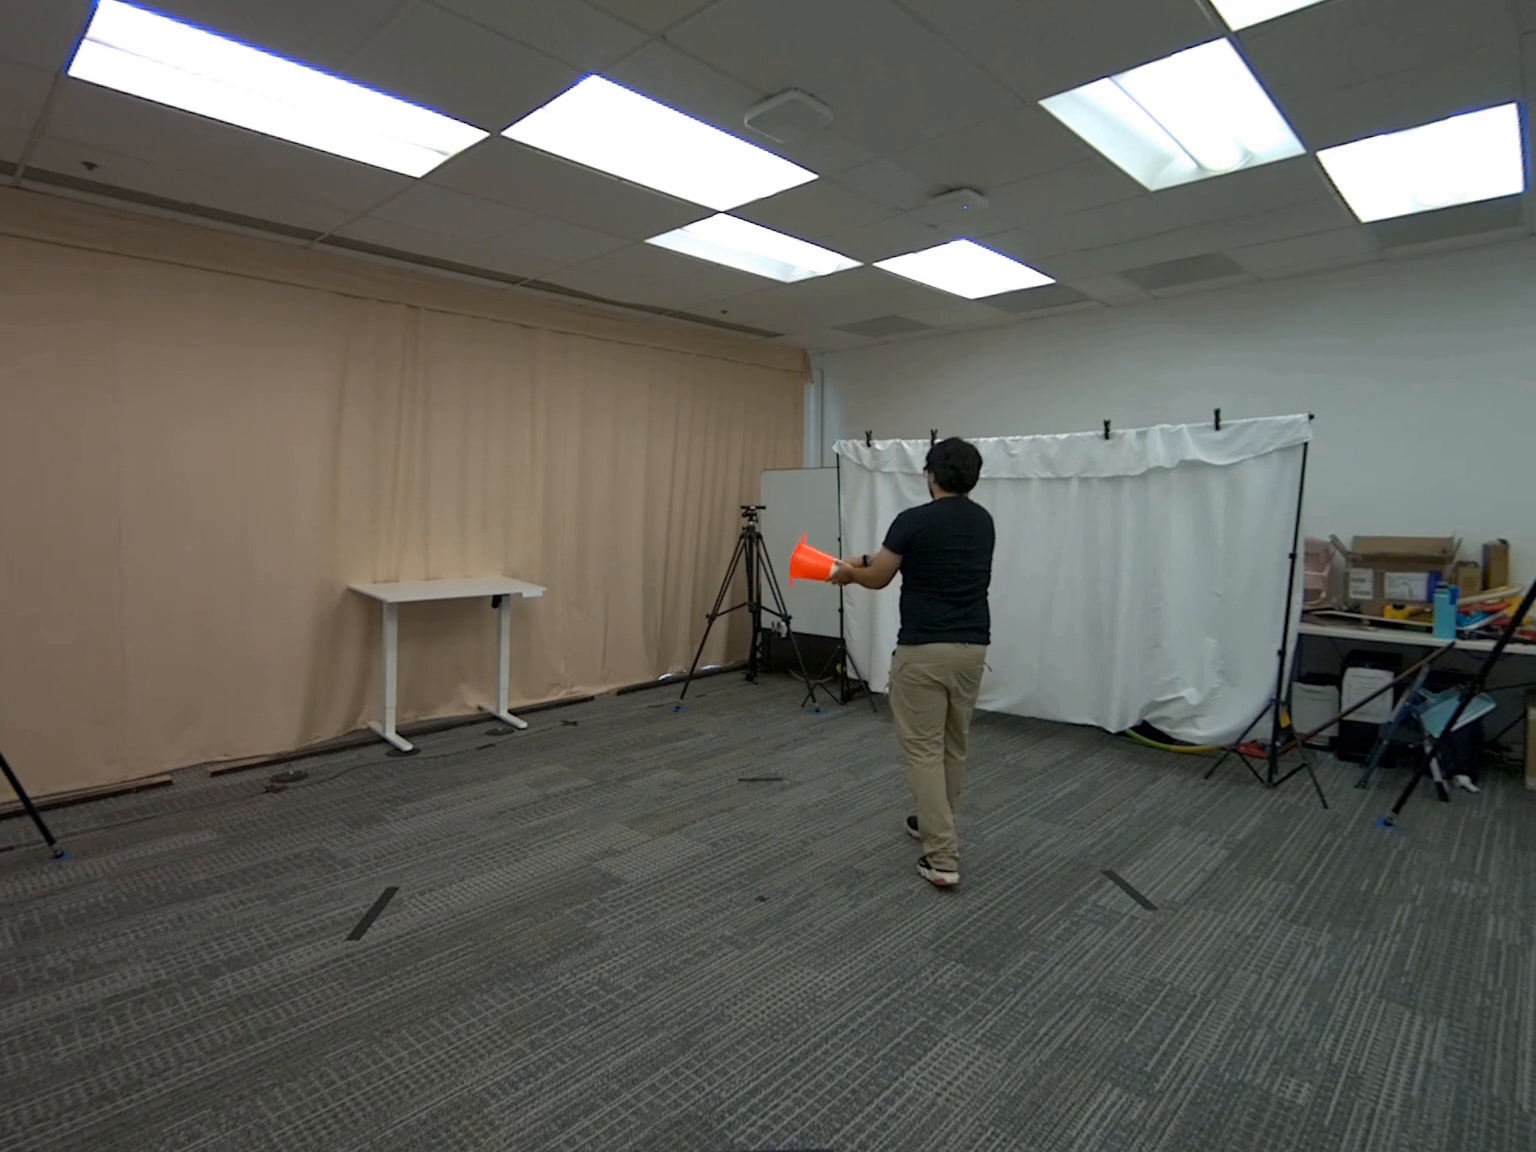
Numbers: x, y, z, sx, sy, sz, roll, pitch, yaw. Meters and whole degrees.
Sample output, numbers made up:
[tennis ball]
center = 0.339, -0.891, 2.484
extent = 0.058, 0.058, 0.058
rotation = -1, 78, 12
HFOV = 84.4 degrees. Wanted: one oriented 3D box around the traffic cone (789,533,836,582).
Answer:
[traffic cone]
center = 0.317, -0.009, 3.677
extent = 0.391, 0.201, 0.203
rotation = 17, 48, 15
